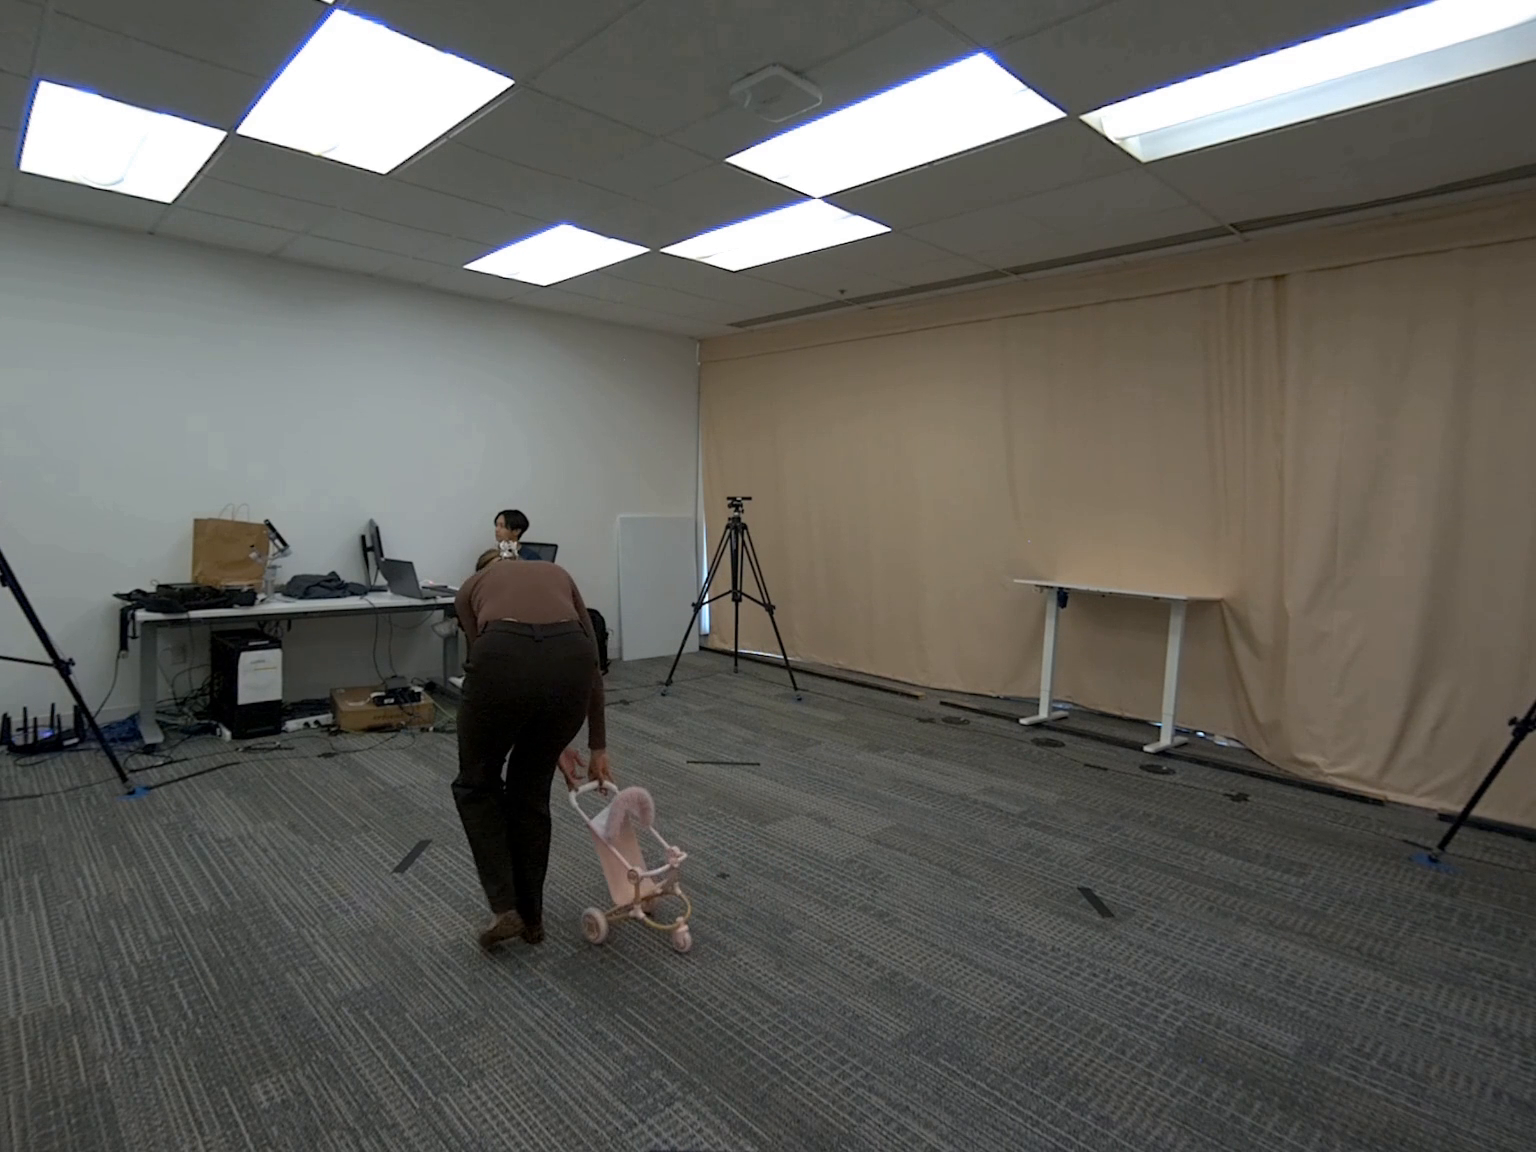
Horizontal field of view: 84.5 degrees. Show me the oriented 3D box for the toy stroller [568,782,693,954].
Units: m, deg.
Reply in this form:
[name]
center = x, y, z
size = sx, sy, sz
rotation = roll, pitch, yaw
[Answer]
[toy stroller]
center = -0.425, 0.916, 2.674
size = 0.346, 0.538, 0.275
rotation = -17, -7, 36
